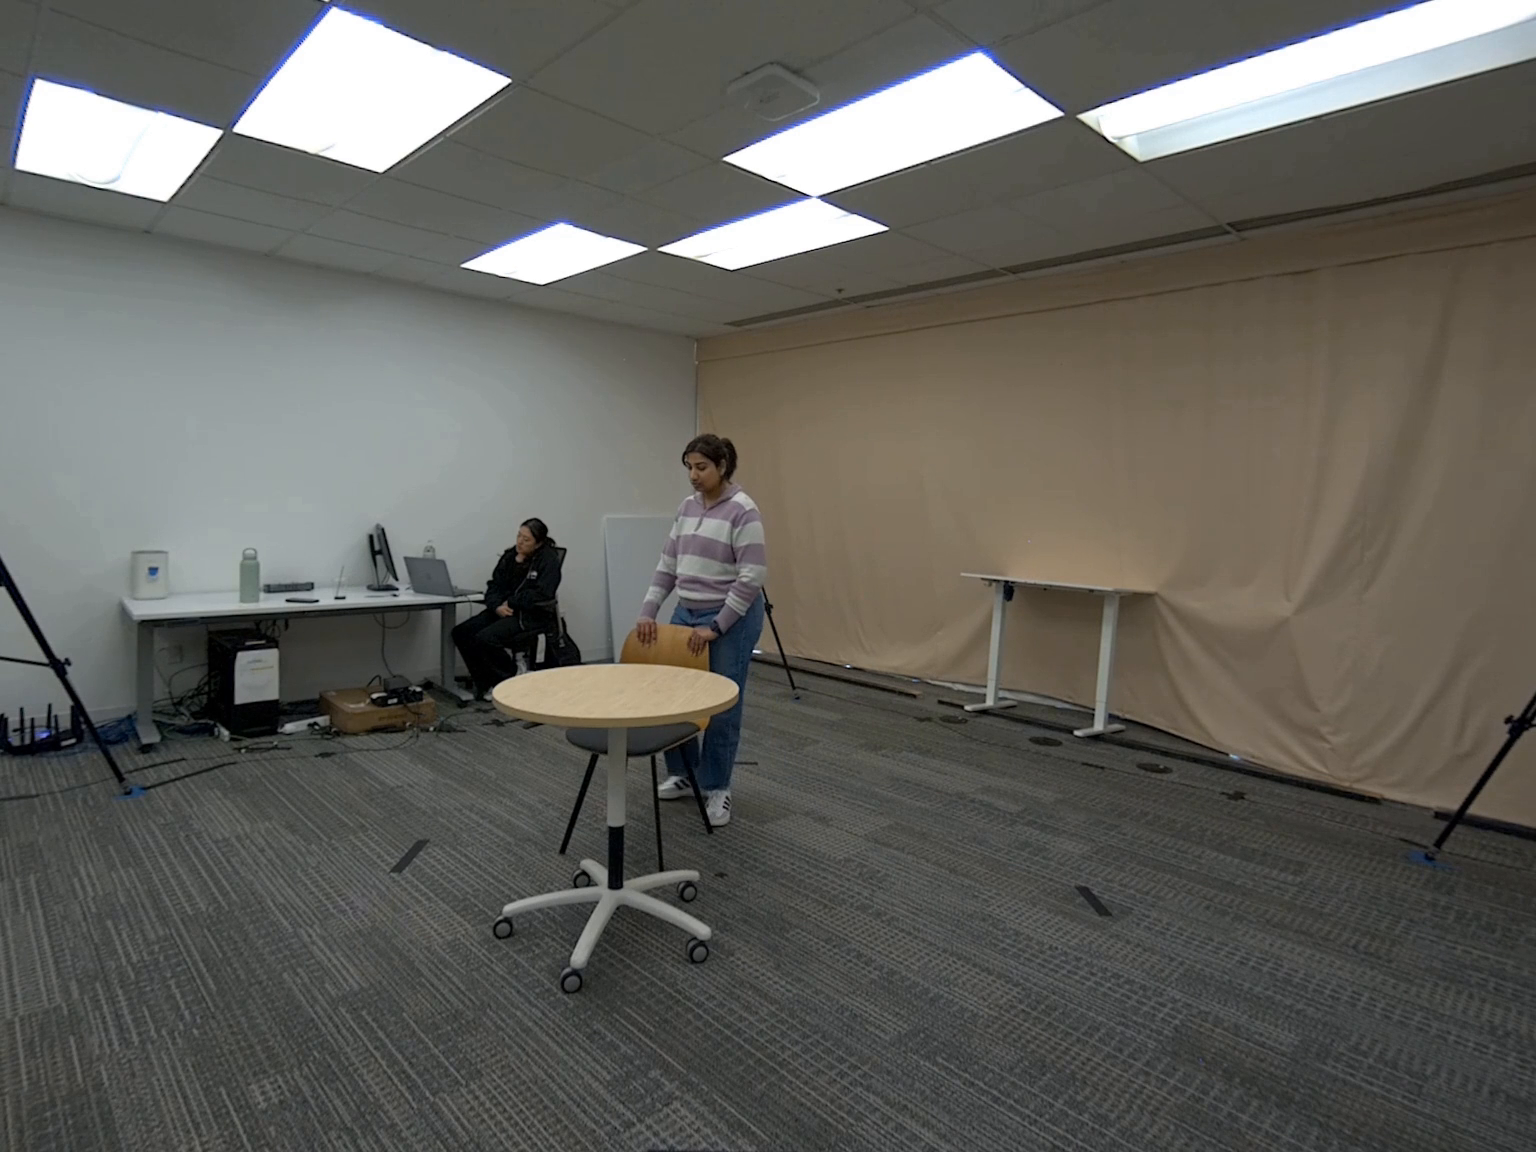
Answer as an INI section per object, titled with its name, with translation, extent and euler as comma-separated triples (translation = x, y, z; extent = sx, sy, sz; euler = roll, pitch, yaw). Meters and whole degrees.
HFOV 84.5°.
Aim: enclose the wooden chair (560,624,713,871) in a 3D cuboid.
[wooden chair]
translation = -0.512, 0.649, 3.328
extent = 0.487, 0.878, 0.513
euler = 3, 0, 23
